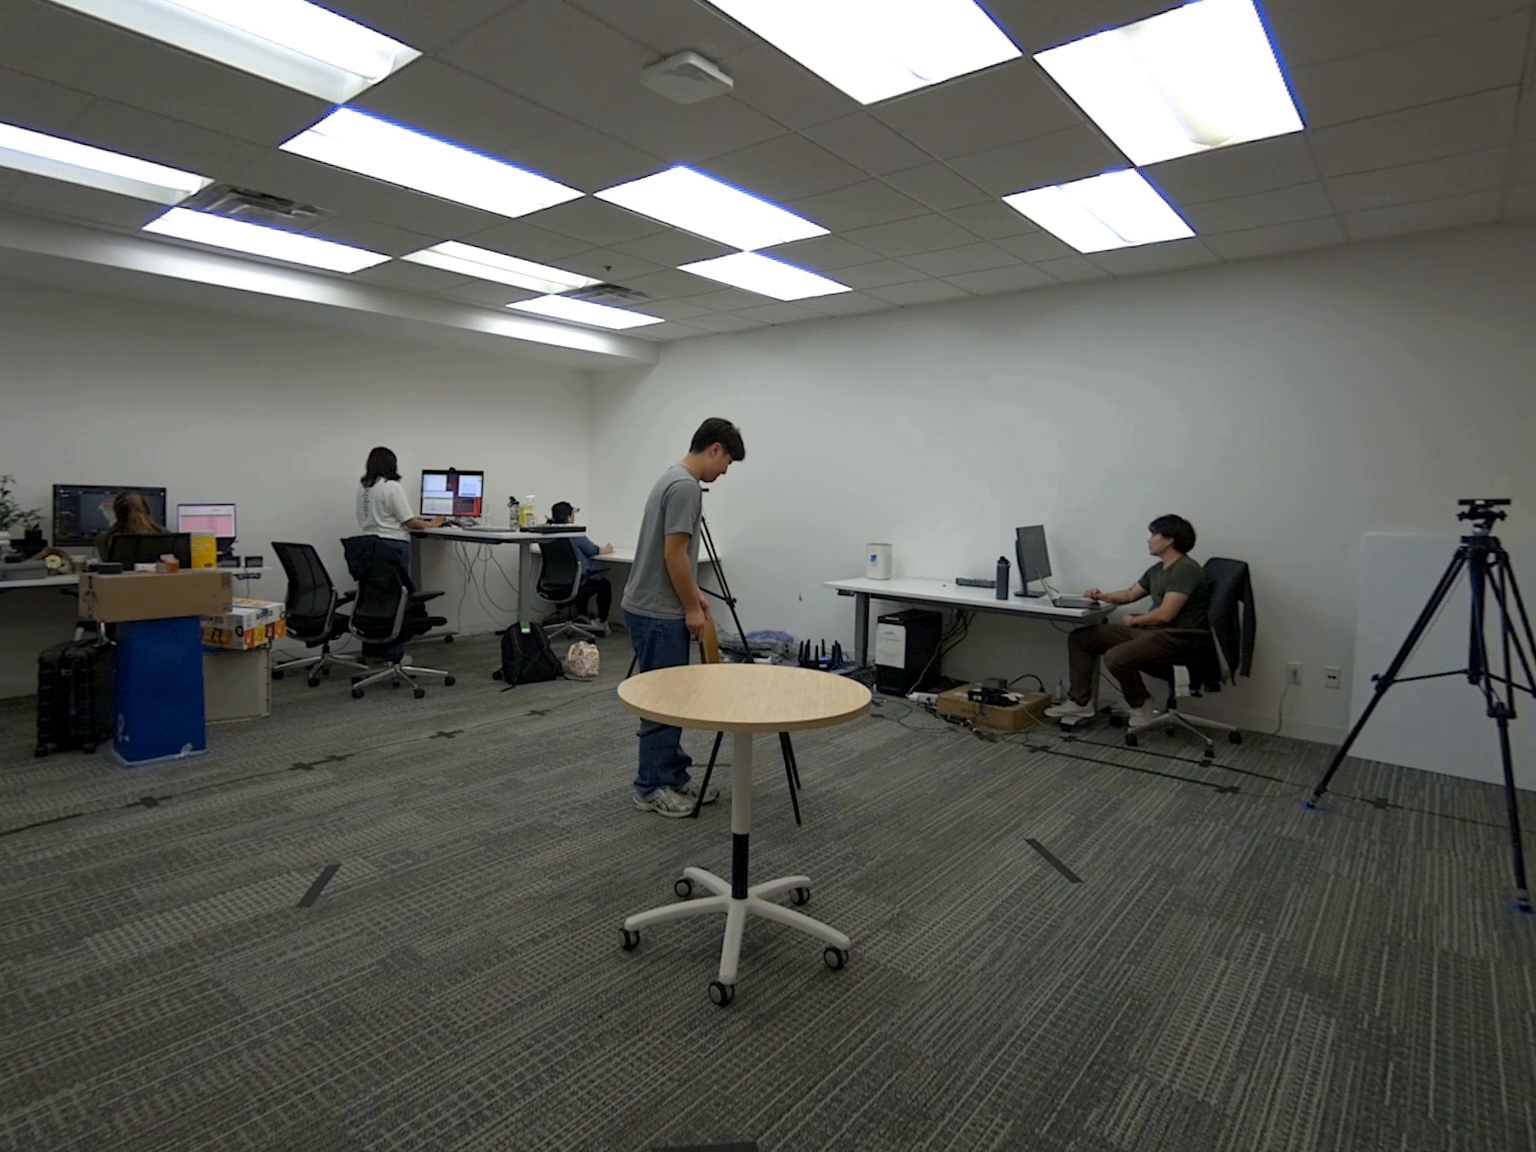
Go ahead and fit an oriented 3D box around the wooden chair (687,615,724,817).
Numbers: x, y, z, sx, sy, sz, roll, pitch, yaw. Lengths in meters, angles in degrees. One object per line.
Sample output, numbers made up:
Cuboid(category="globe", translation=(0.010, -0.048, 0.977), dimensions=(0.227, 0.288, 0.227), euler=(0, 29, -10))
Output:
Cuboid(category="wooden chair", translation=(-0.075, 0.581, 3.747), dimensions=(0.526, 0.875, 0.477), euler=(-3, 3, 4))
